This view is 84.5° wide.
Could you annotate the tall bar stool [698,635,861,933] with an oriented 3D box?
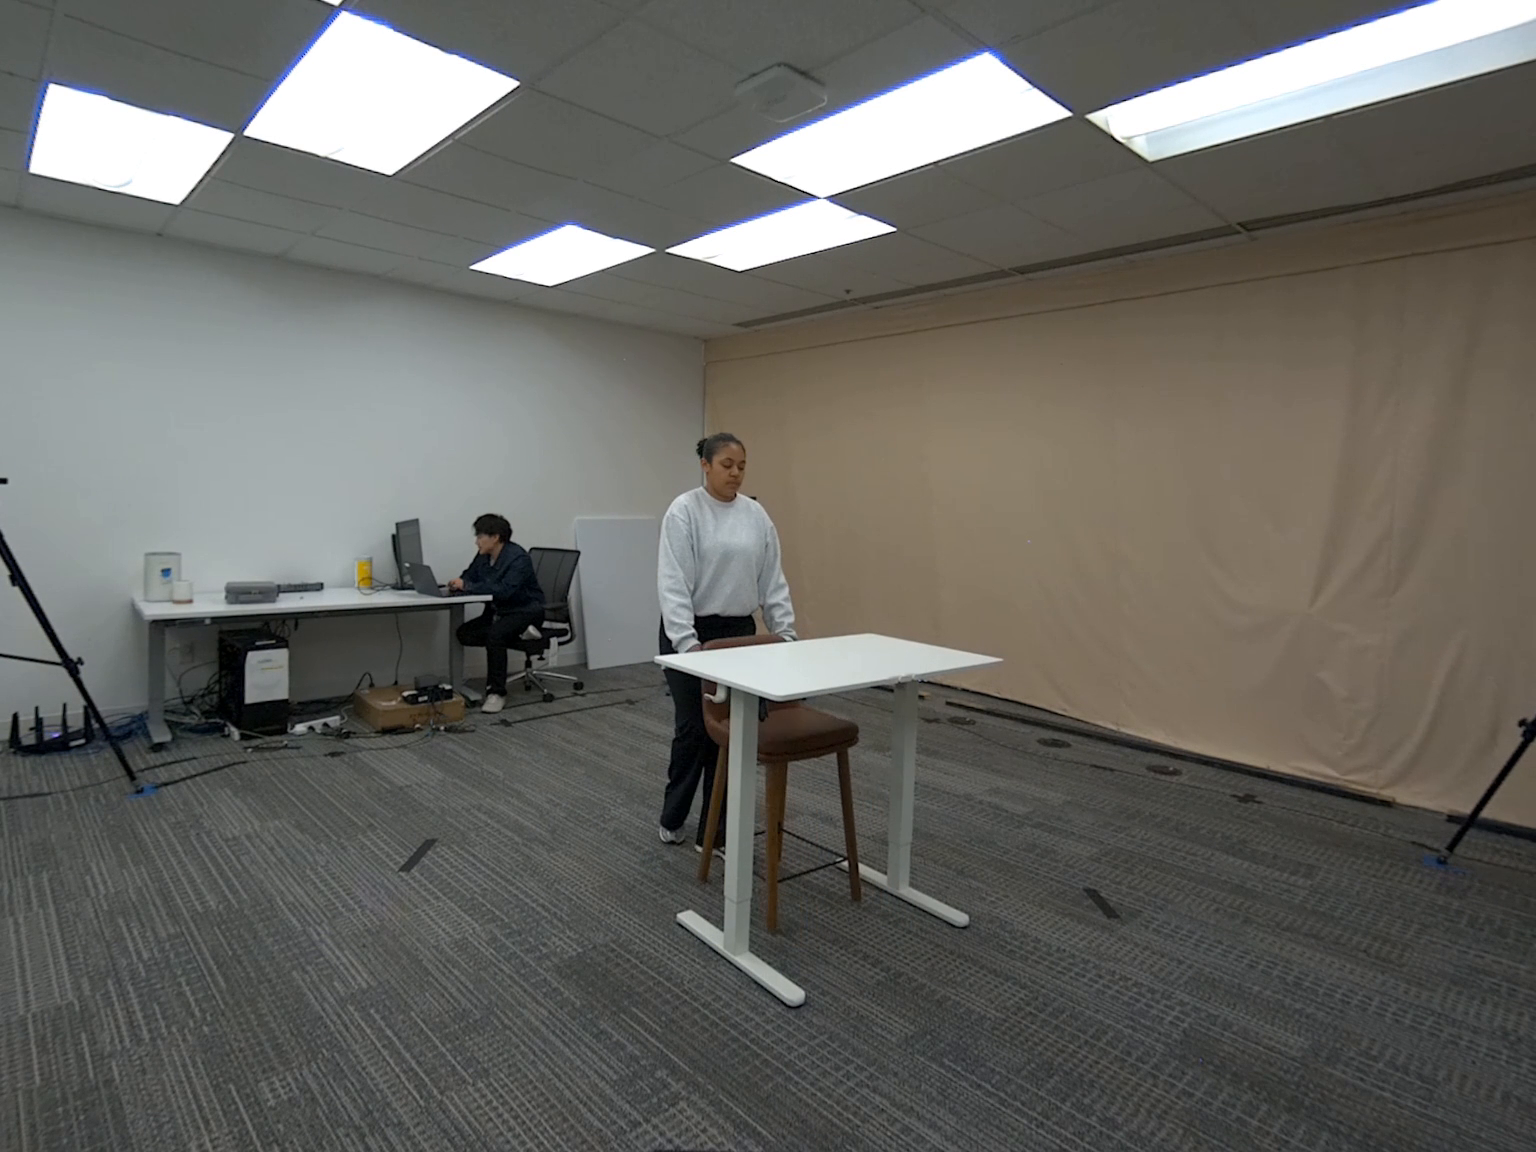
[{"bbox_3d":[0.027,0.682,2.970,0.446,0.889,0.478,-1,1,-37],"label":"tall bar stool"}]
